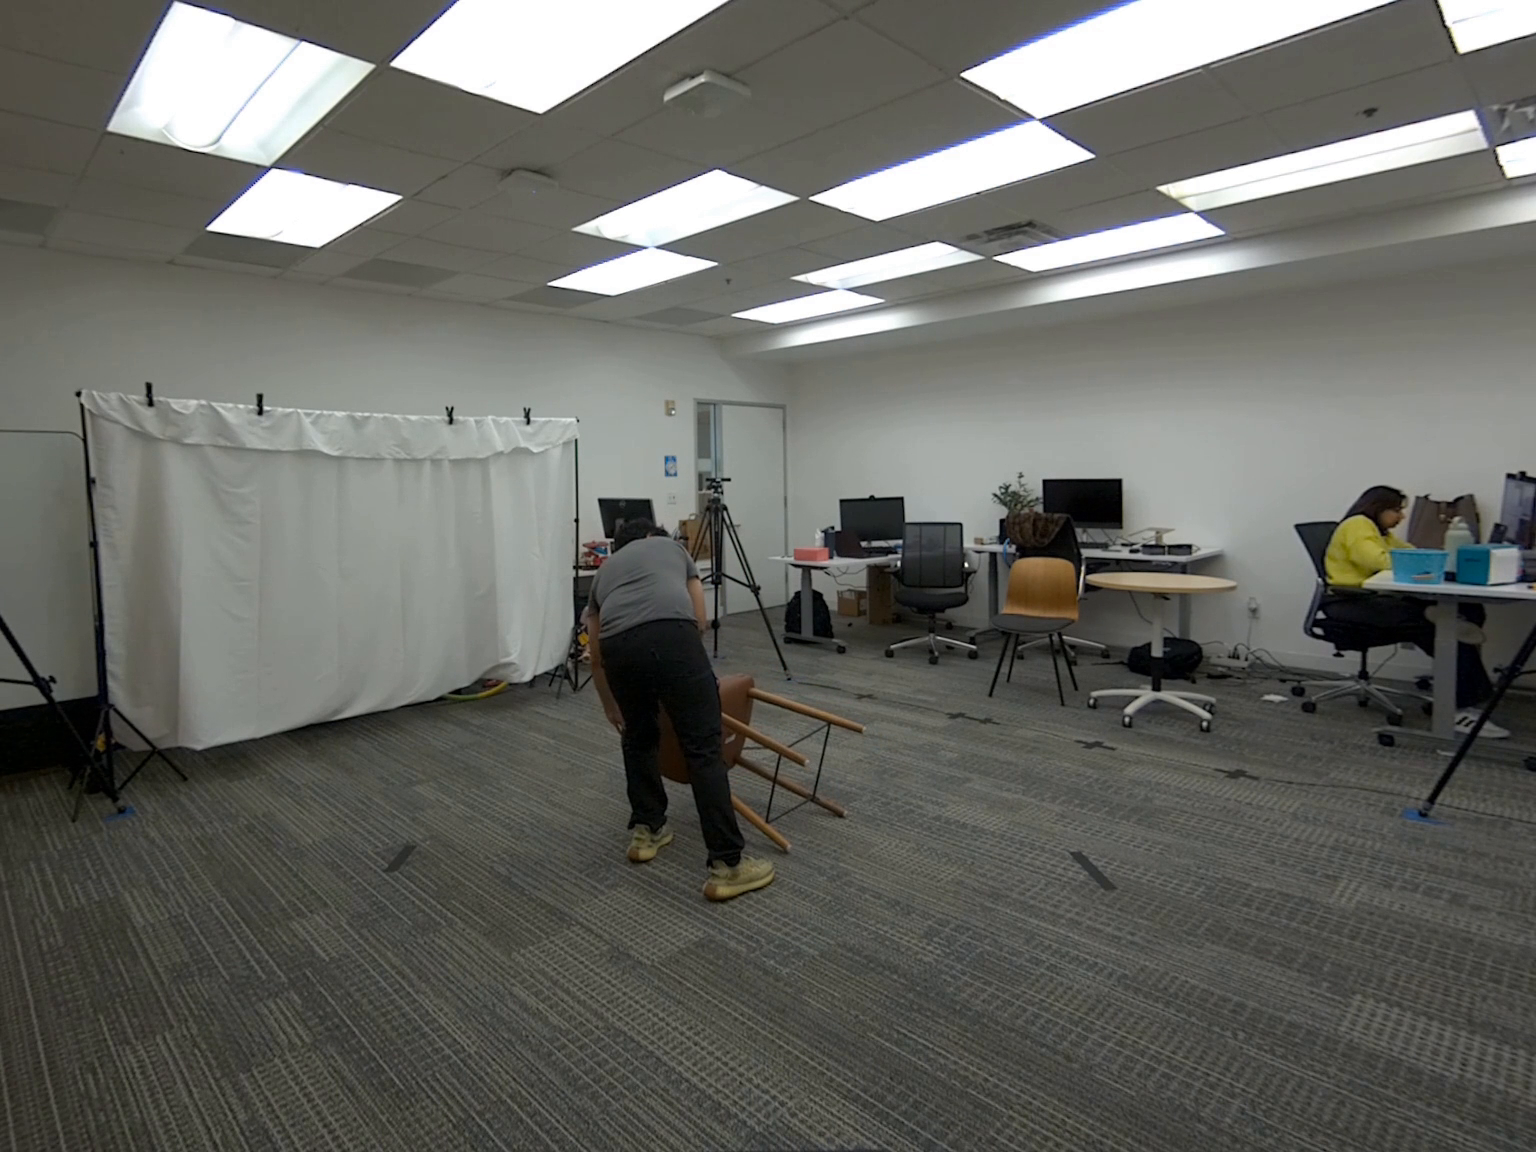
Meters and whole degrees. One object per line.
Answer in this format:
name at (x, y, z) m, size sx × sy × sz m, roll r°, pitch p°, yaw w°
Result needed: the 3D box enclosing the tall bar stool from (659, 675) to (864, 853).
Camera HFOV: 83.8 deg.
tall bar stool at (-0.121, 0.695, 3.551) m, size 0.920 × 0.452 × 0.457 m, roll 20°, pitch 17°, yaw 32°
